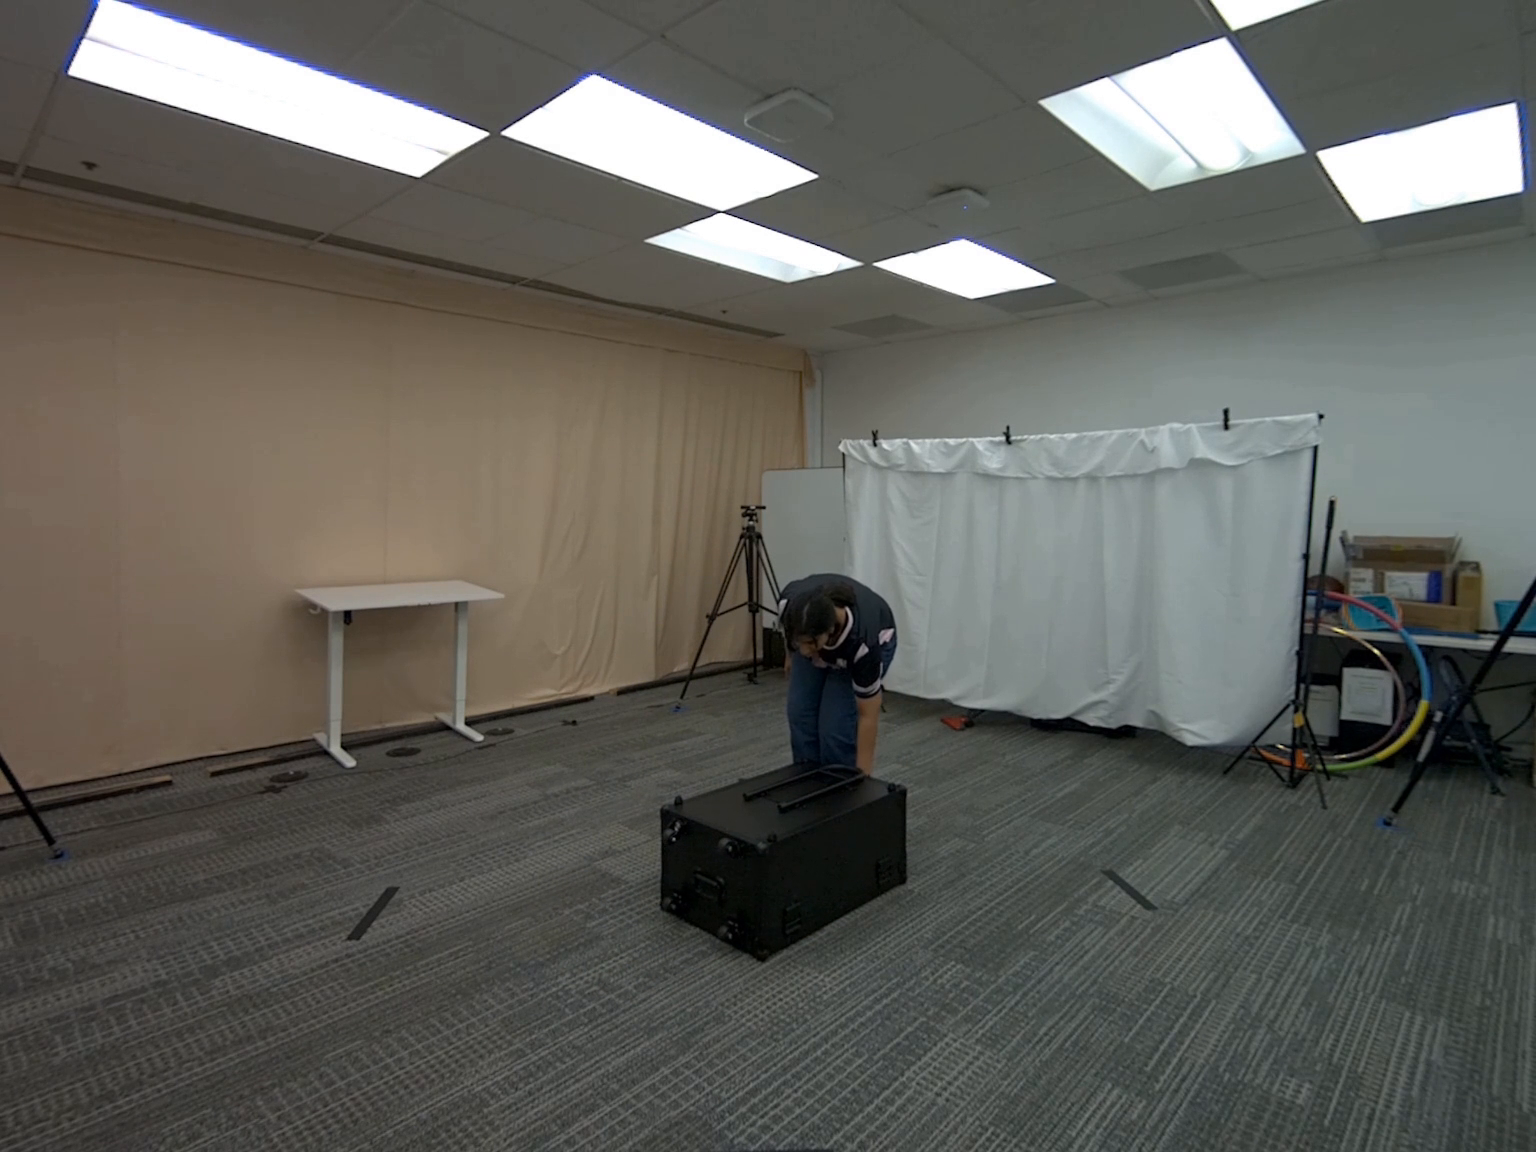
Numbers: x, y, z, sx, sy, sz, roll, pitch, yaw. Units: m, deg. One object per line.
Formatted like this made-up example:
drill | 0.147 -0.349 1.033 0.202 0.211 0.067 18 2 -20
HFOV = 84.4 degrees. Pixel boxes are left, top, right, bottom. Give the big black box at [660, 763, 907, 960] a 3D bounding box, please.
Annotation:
big black box | 0.054 0.961 2.963 0.541 0.384 0.842 6 7 44
